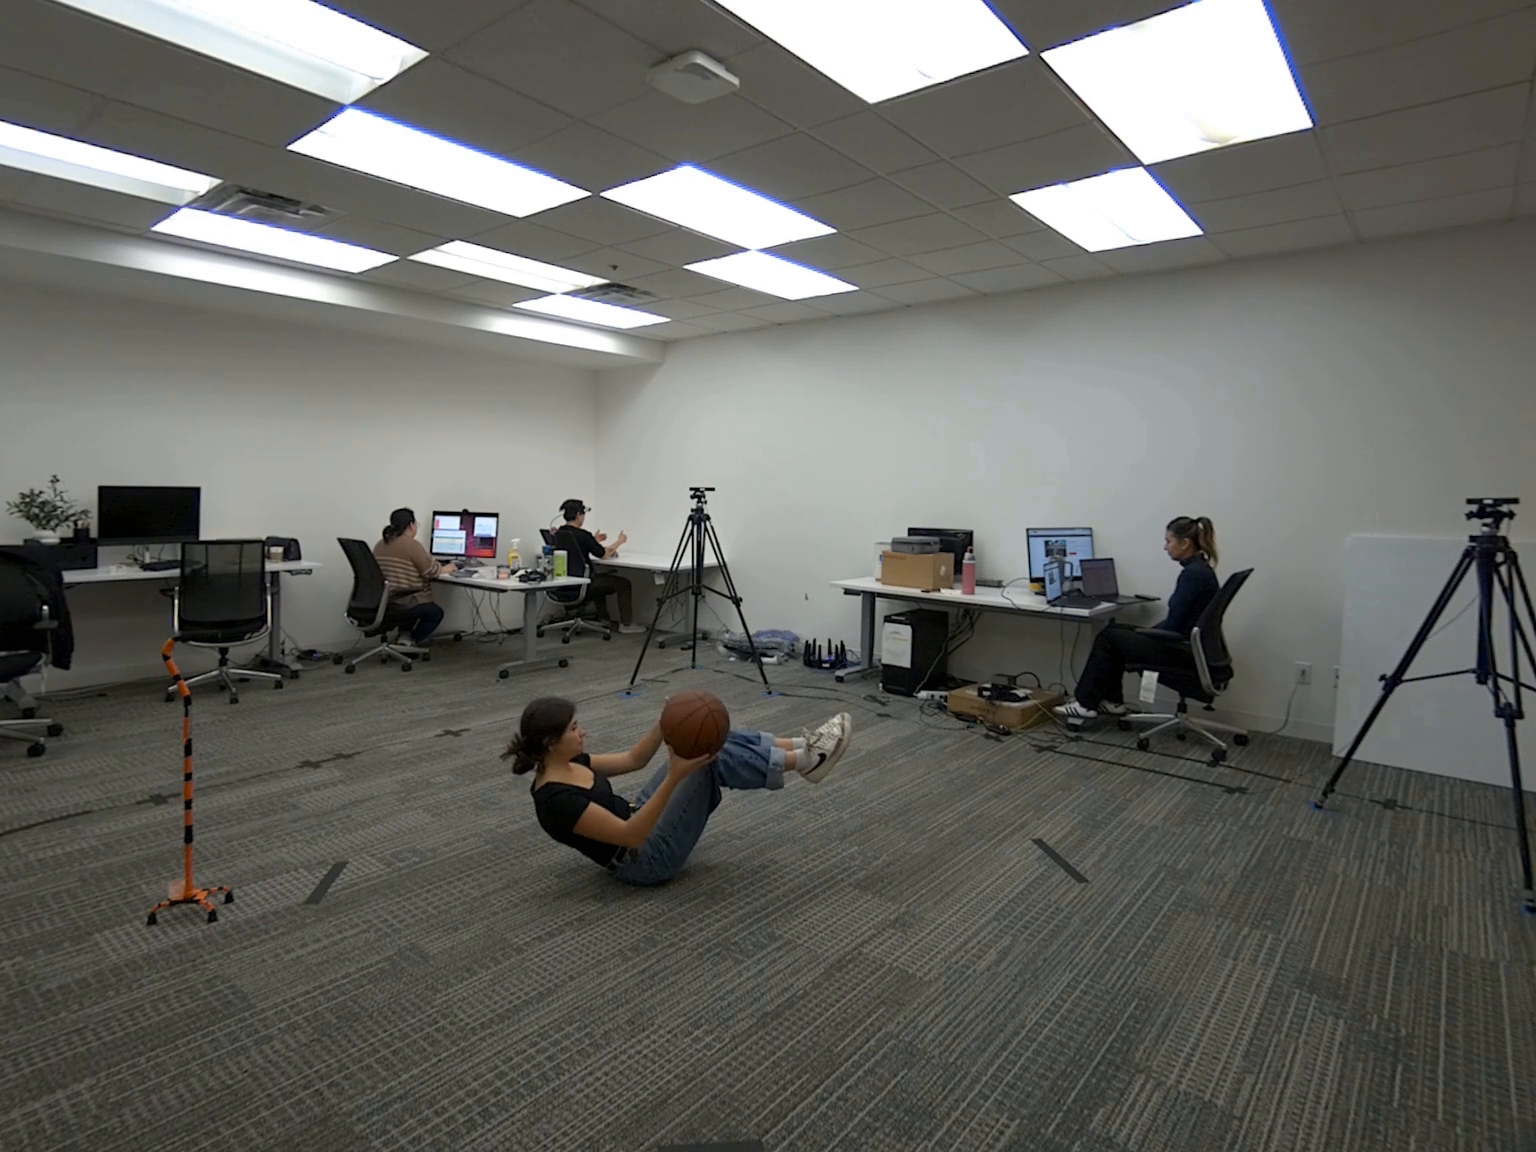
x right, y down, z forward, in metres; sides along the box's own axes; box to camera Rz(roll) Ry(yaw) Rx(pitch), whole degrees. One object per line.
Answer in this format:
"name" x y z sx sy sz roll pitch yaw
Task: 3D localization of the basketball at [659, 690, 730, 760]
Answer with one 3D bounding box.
"basketball" -0.258 0.514 2.909 0.235 0.235 0.237 1 4 -2
